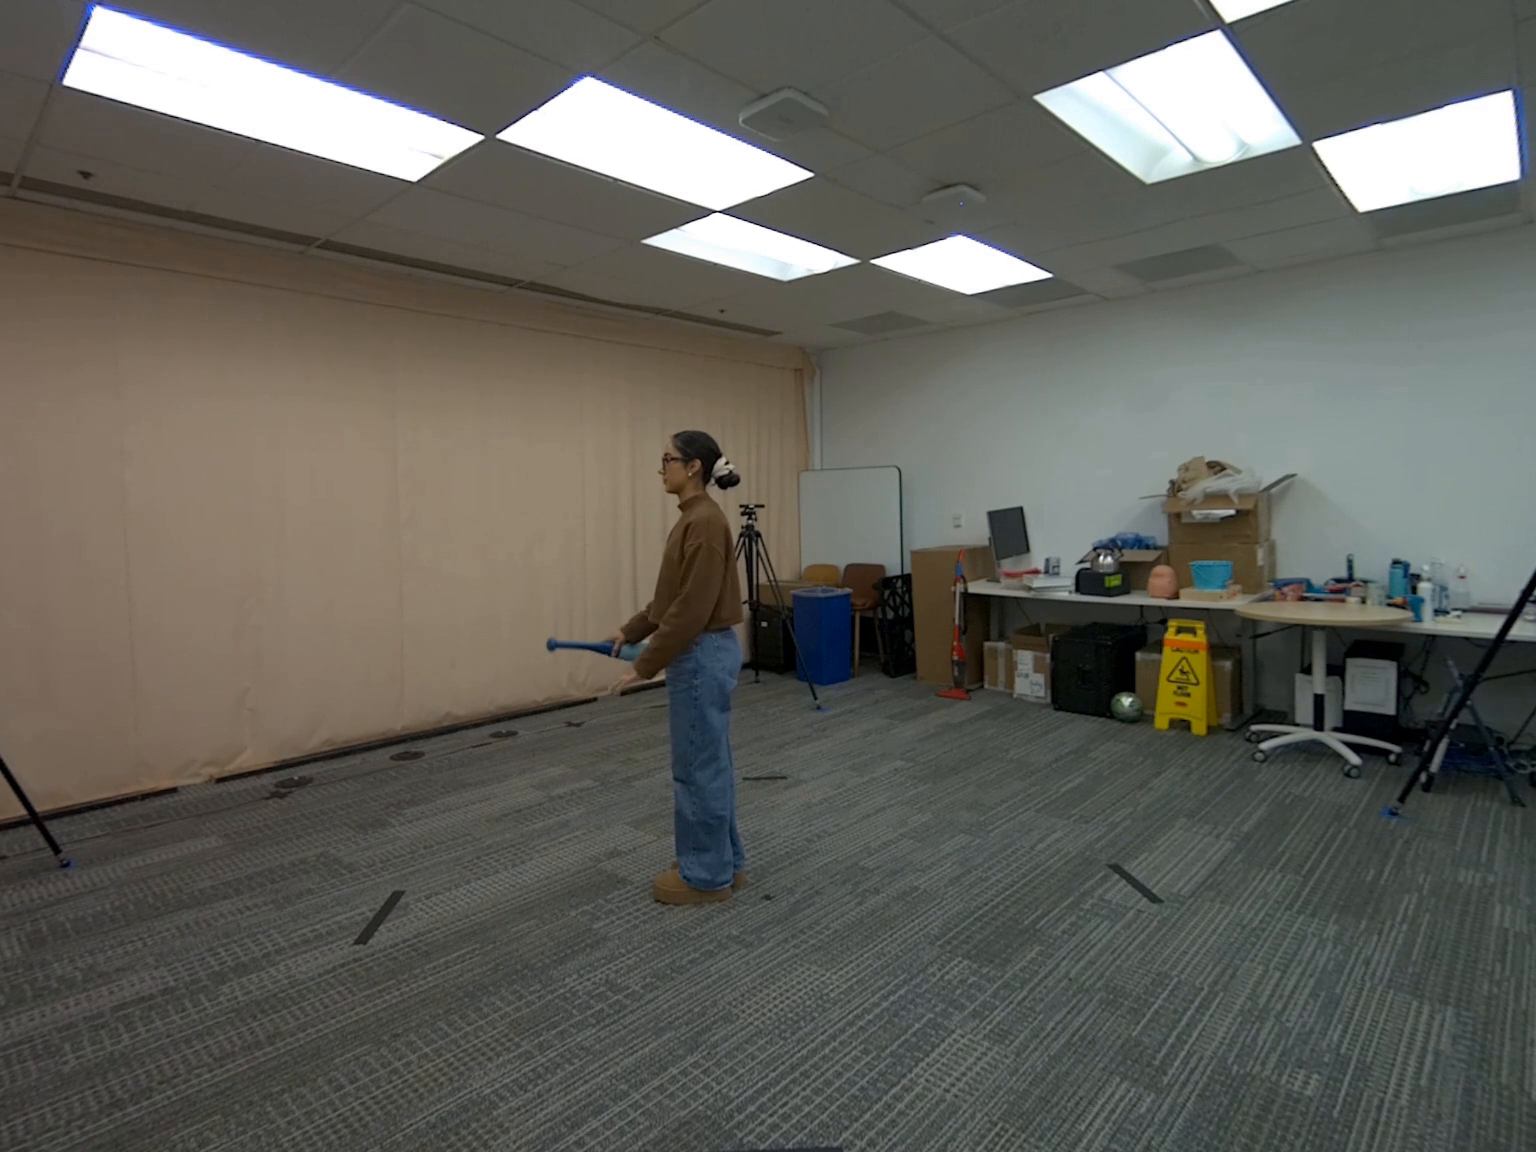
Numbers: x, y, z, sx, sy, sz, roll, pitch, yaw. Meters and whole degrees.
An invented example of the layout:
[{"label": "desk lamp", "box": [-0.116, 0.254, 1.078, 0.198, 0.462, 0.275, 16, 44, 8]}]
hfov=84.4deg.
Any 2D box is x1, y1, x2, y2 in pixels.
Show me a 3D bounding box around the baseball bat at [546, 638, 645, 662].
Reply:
[{"label": "baseball bat", "box": [-0.585, 0.276, 3.205, 0.525, 0.089, 0.092, 9, -3, -40]}]
